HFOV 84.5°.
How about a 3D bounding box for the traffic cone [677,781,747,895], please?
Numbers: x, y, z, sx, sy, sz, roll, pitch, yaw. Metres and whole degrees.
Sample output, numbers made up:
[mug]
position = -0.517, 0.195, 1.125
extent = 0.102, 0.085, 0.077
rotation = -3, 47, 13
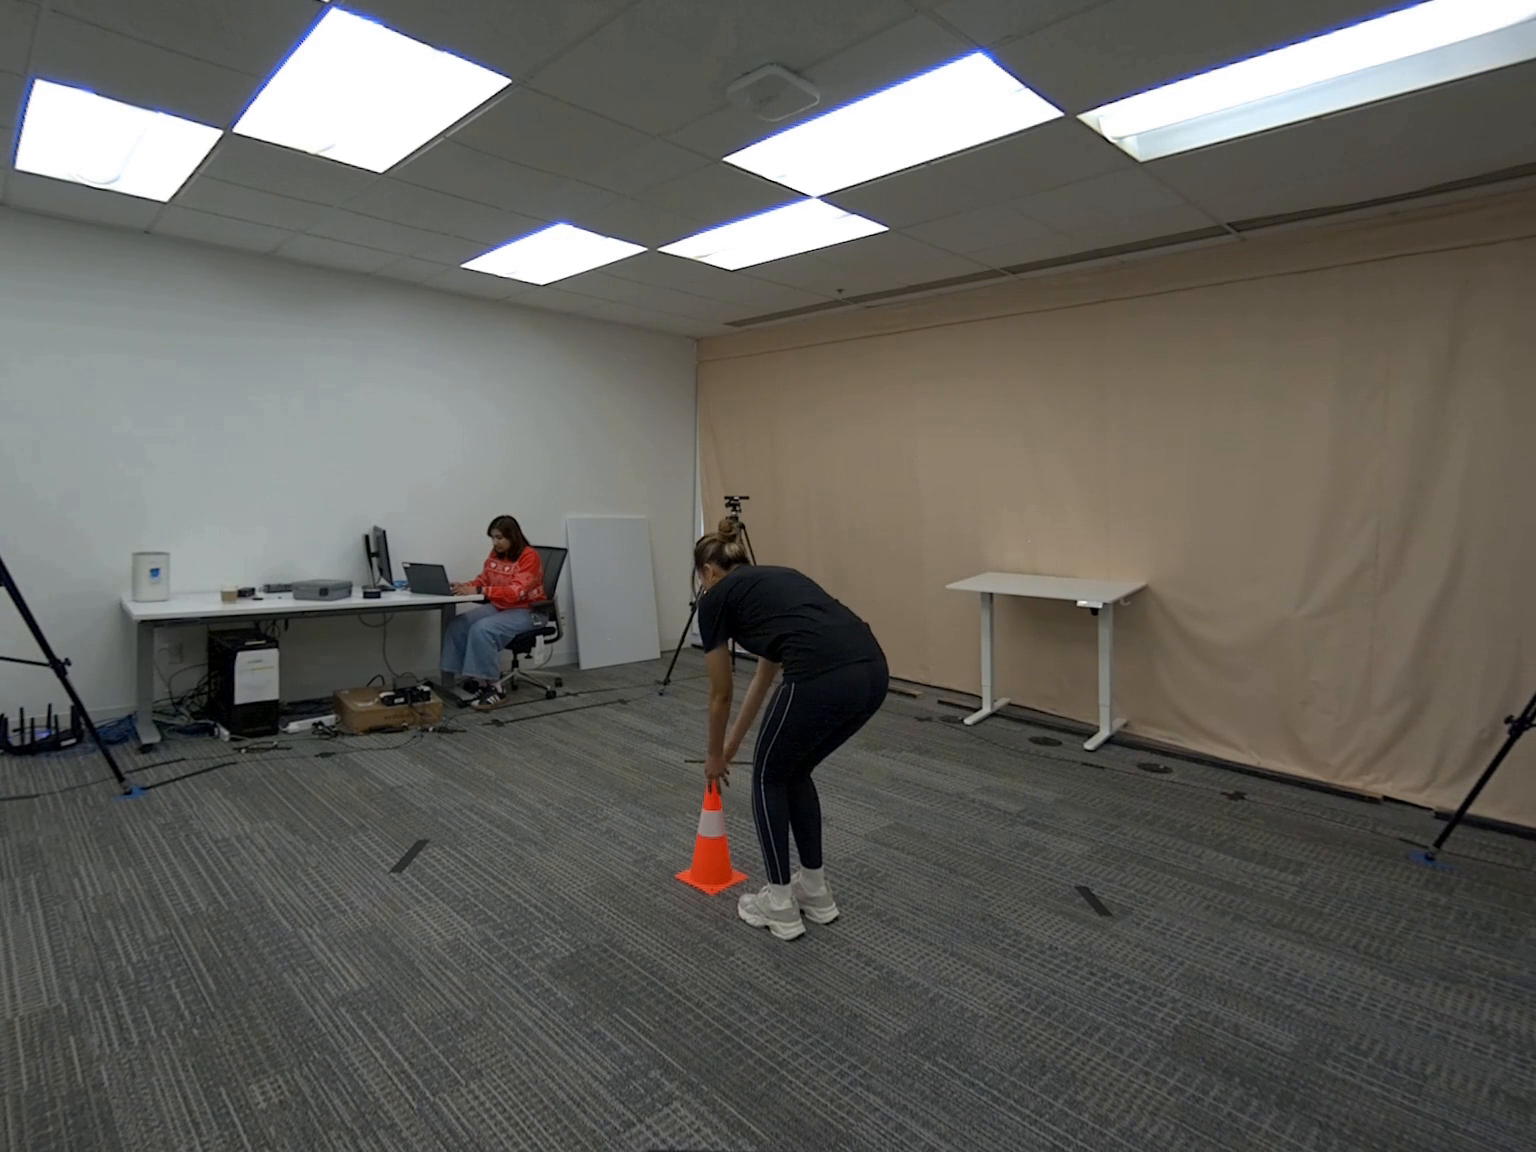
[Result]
[traffic cone]
position = -0.213, 0.921, 3.080
extent = 0.210, 0.383, 0.199
rotation = 3, 3, 38
